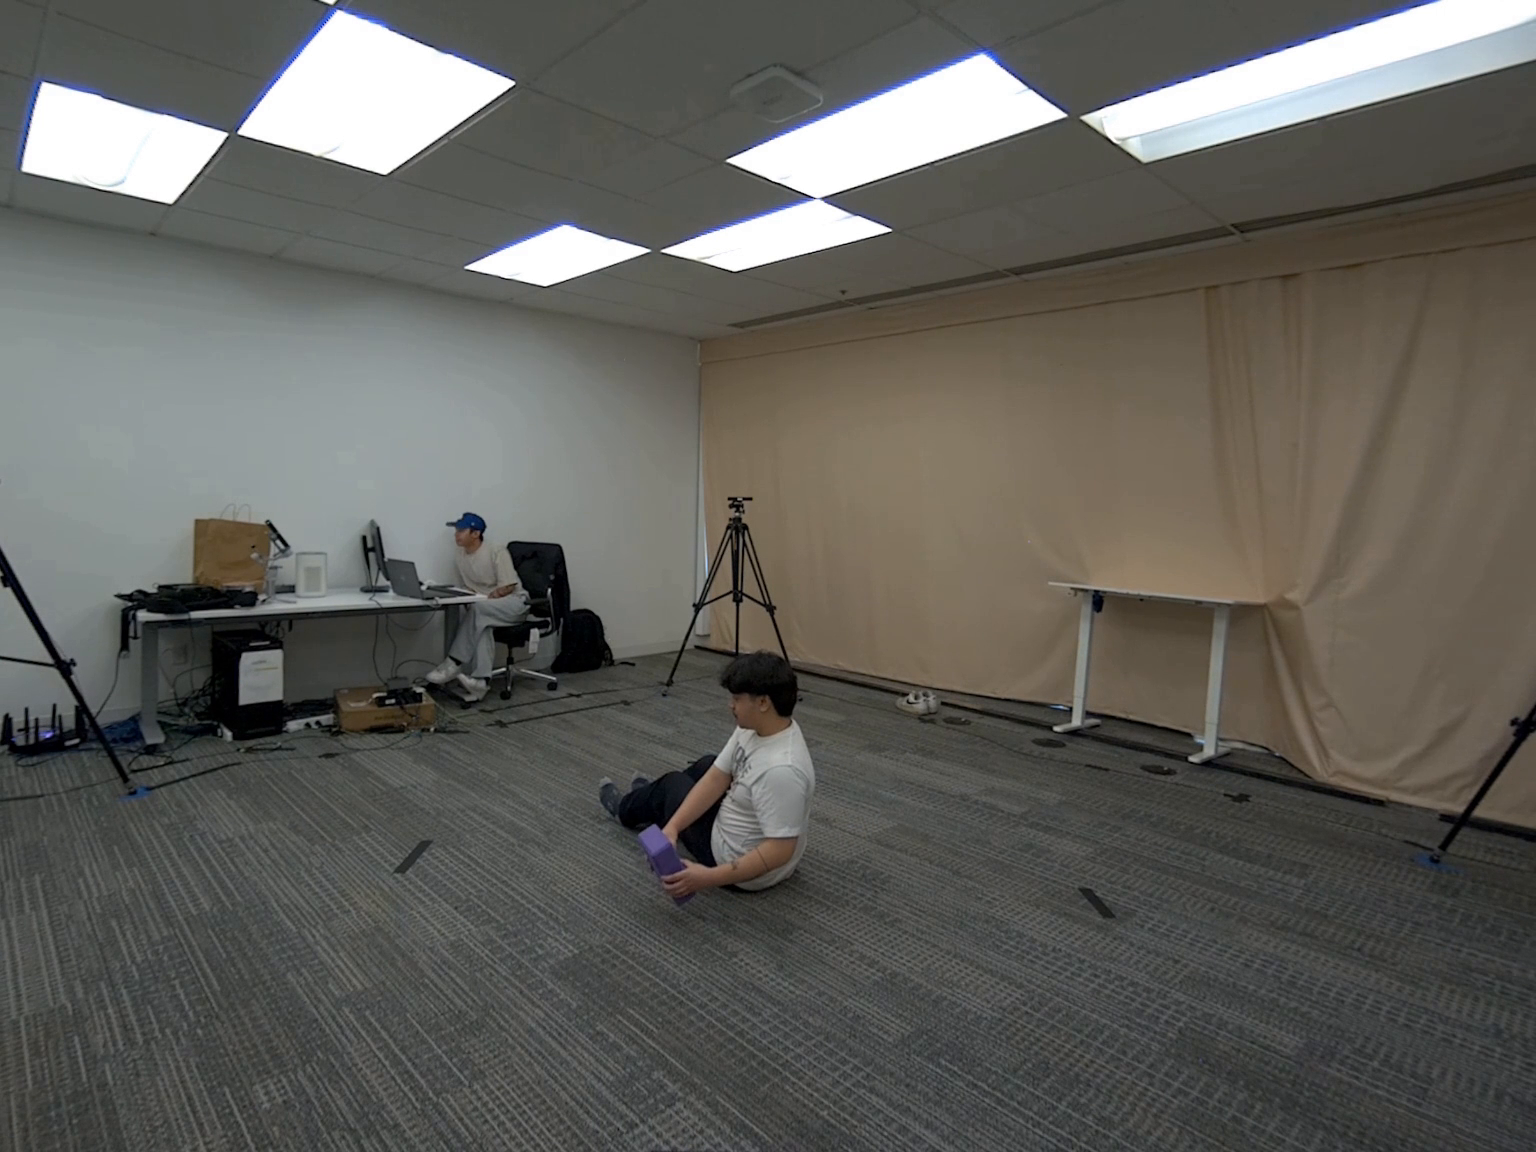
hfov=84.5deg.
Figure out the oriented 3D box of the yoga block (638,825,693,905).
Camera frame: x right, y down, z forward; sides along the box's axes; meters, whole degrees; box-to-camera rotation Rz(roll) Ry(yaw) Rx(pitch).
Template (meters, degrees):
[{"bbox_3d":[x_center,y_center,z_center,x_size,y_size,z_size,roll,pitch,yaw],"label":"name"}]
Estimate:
[{"bbox_3d":[-0.344,0.947,2.765,0.076,0.225,0.153,-29,21,-22],"label":"yoga block"}]
